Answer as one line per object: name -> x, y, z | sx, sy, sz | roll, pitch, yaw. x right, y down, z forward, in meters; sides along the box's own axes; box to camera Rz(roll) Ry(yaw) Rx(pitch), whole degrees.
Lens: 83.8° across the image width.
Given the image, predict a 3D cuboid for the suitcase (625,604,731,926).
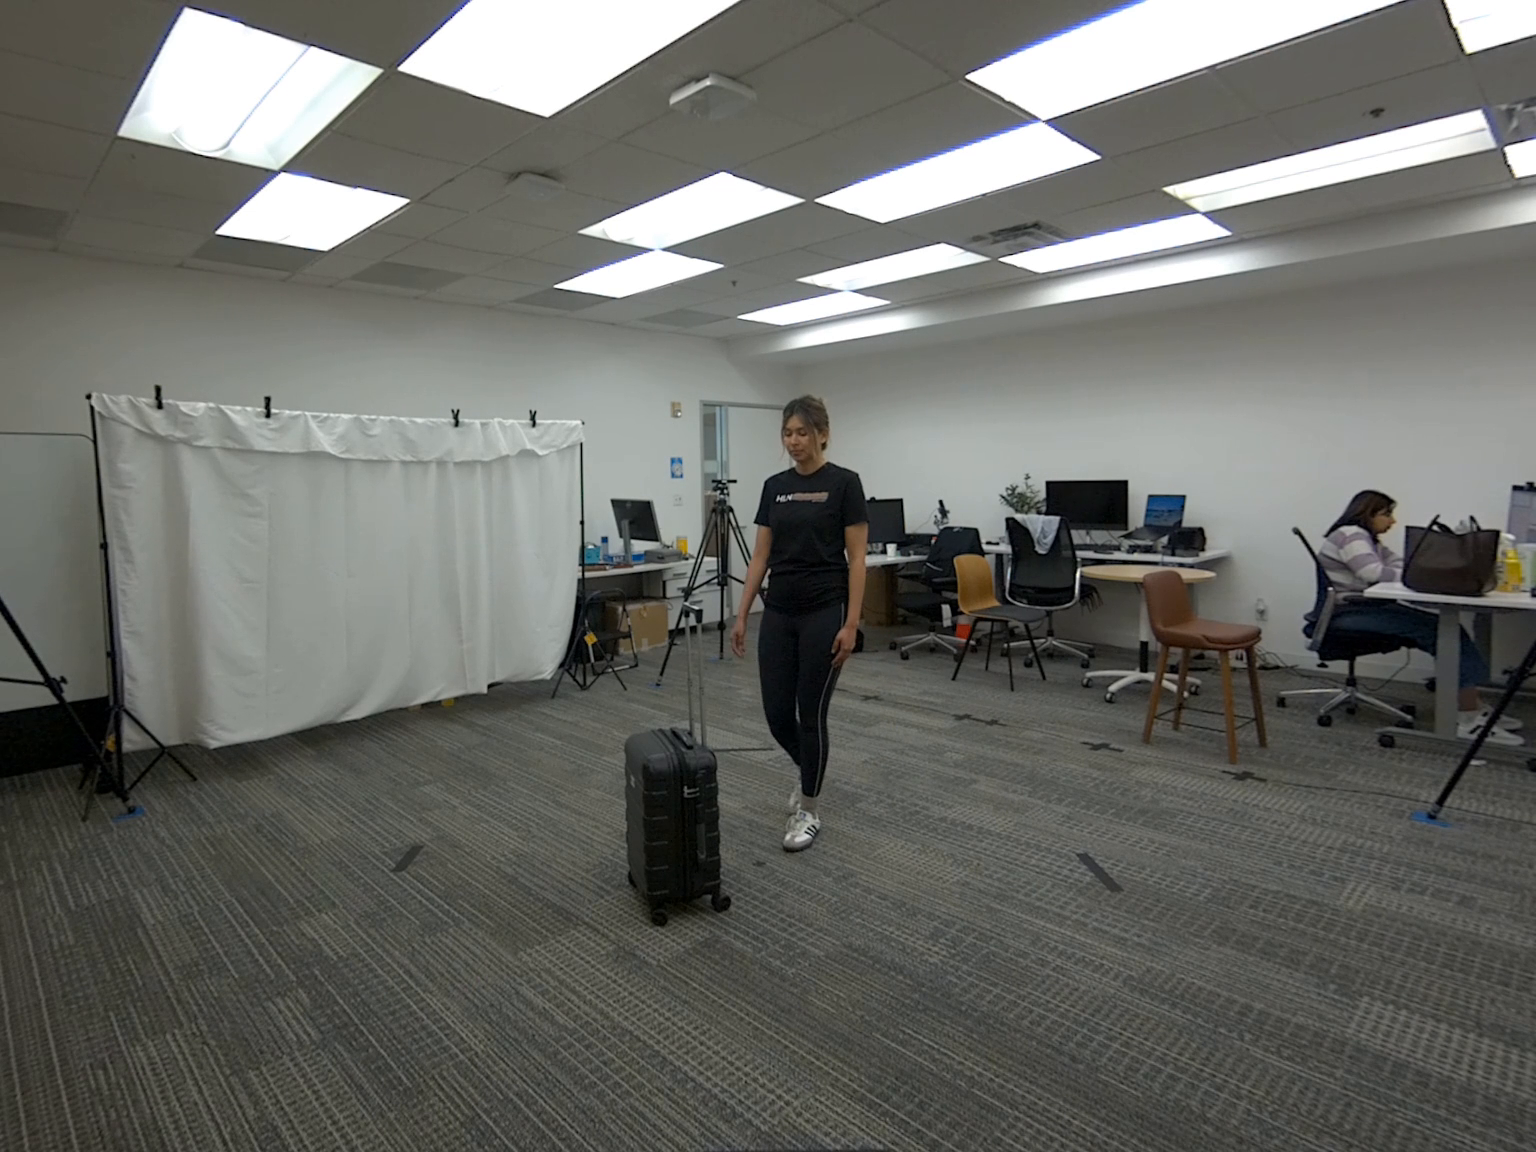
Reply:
suitcase -> -0.334, 0.603, 2.842 | 0.253, 0.974, 0.391 | -5, 5, -18
